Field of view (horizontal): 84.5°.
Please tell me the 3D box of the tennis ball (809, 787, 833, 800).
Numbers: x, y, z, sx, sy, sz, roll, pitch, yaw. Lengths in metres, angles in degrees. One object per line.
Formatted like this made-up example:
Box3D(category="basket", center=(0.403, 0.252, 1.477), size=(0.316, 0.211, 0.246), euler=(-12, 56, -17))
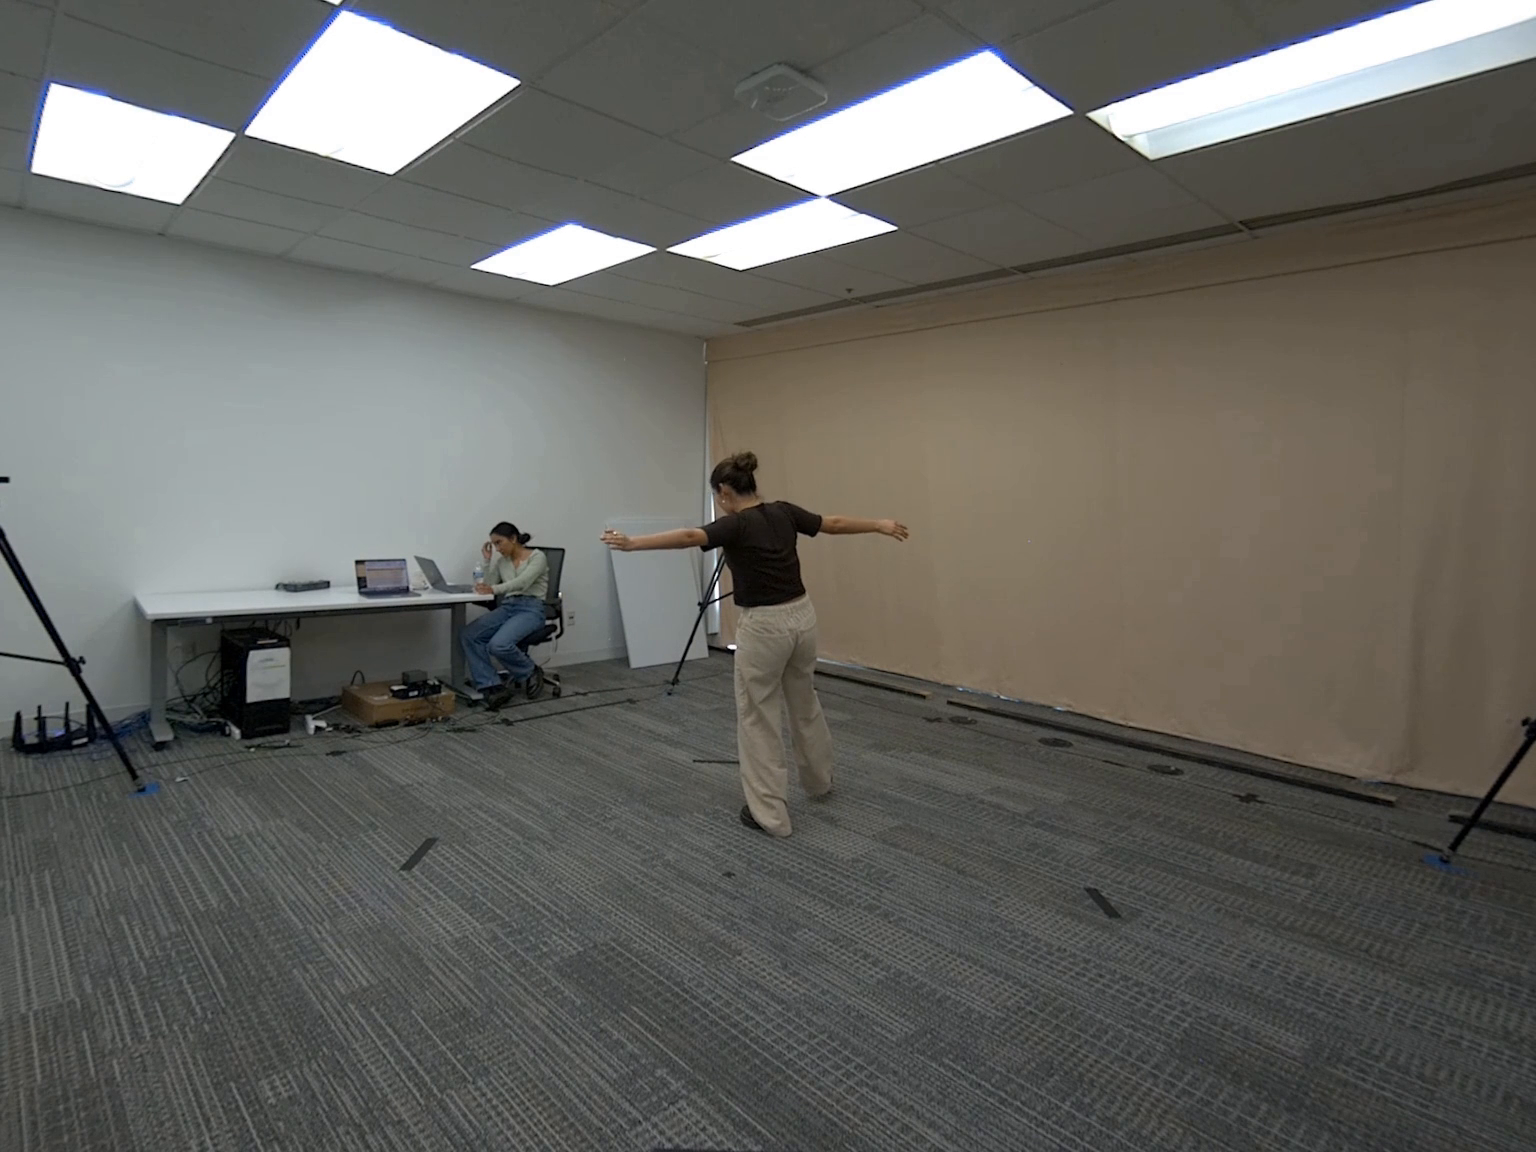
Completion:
Box3D(category="tennis ball", center=(0.234, 0.992, 4.063), size=(0.066, 0.066, 0.067), euler=(1, 4, -1))
